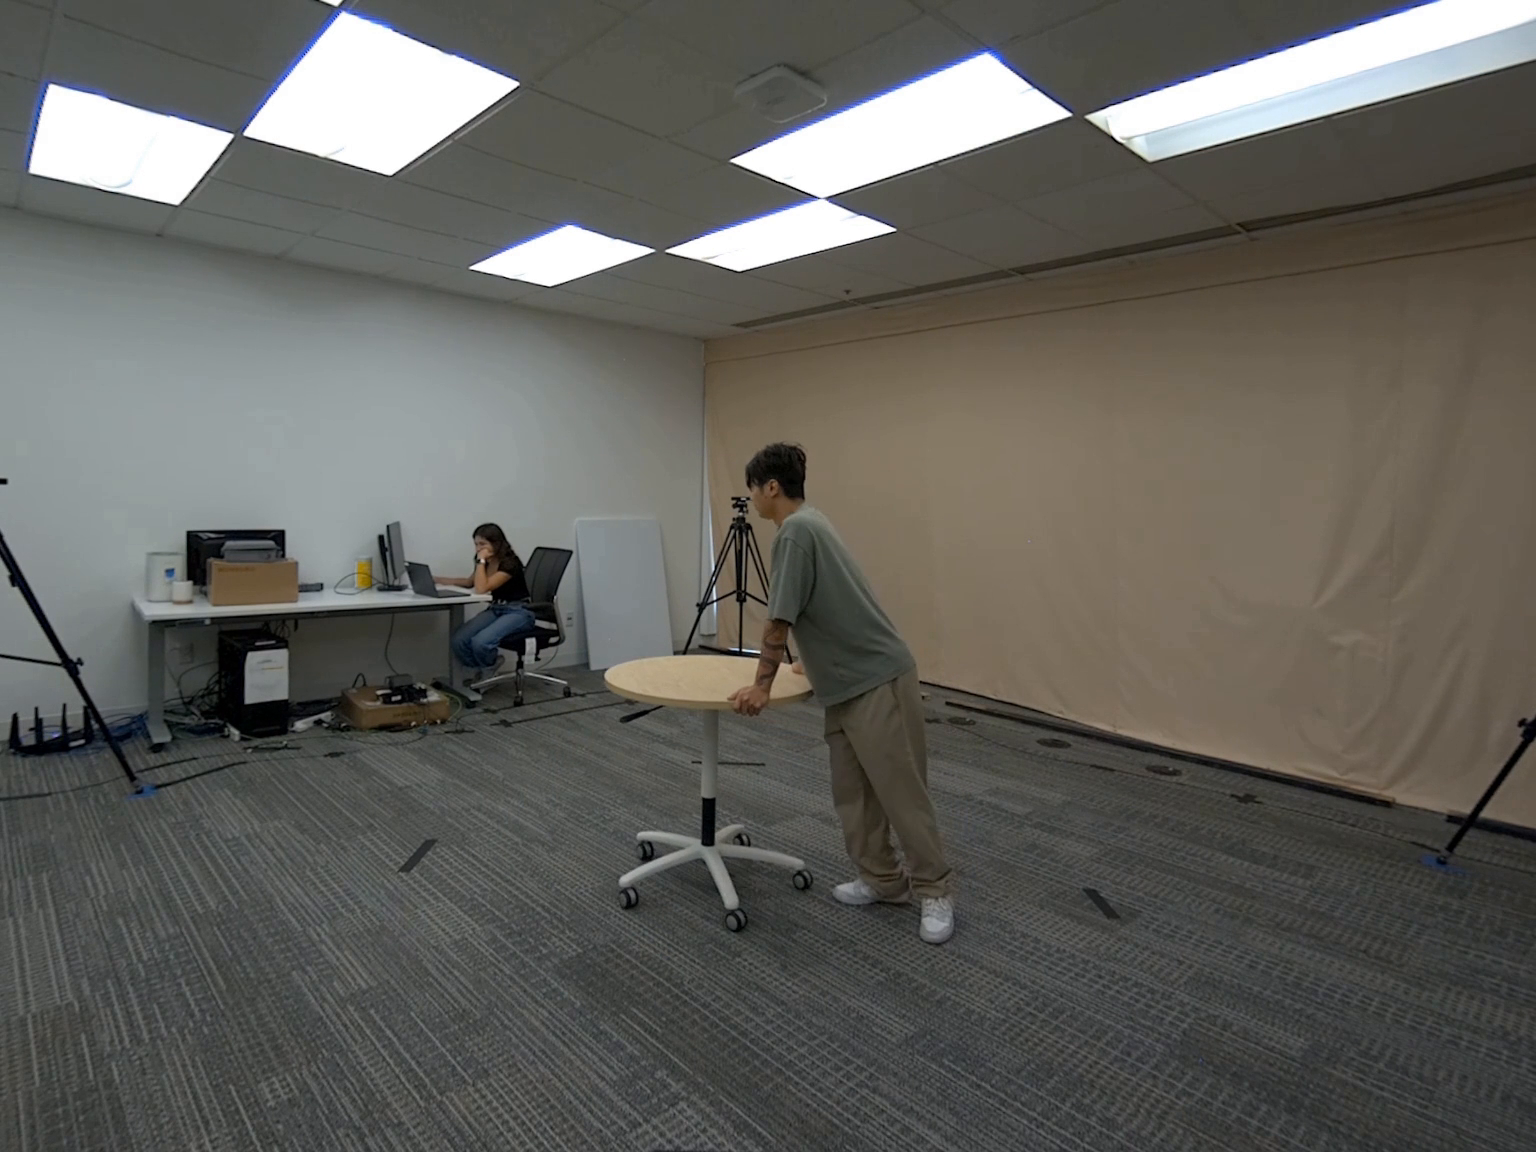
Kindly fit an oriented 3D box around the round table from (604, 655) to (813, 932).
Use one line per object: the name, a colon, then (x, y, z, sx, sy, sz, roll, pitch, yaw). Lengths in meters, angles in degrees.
round table: (-0.202, 0.730, 3.042, 0.784, 0.784, 0.788, 2, 4, -1)
